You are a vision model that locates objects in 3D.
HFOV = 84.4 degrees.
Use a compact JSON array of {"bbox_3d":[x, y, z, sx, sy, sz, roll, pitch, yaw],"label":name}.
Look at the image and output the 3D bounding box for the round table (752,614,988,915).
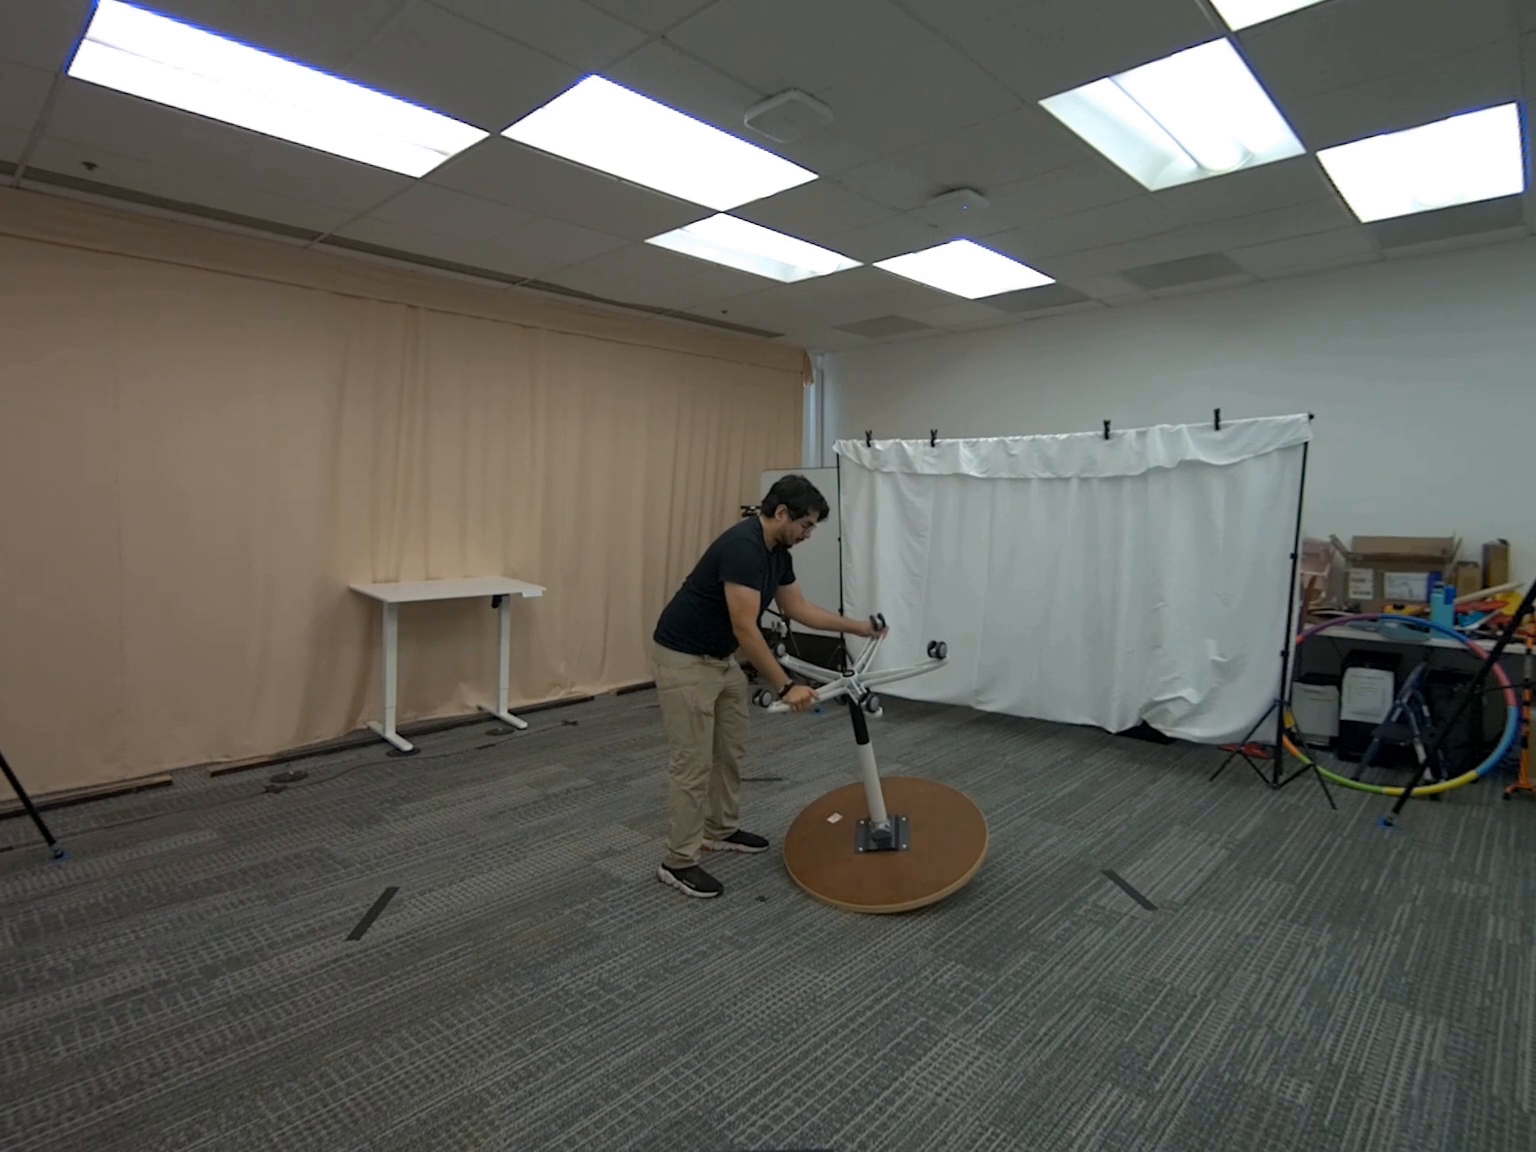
[{"bbox_3d":[0.372,0.639,3.084,0.787,0.775,0.794,-13,18,2],"label":"round table"}]
